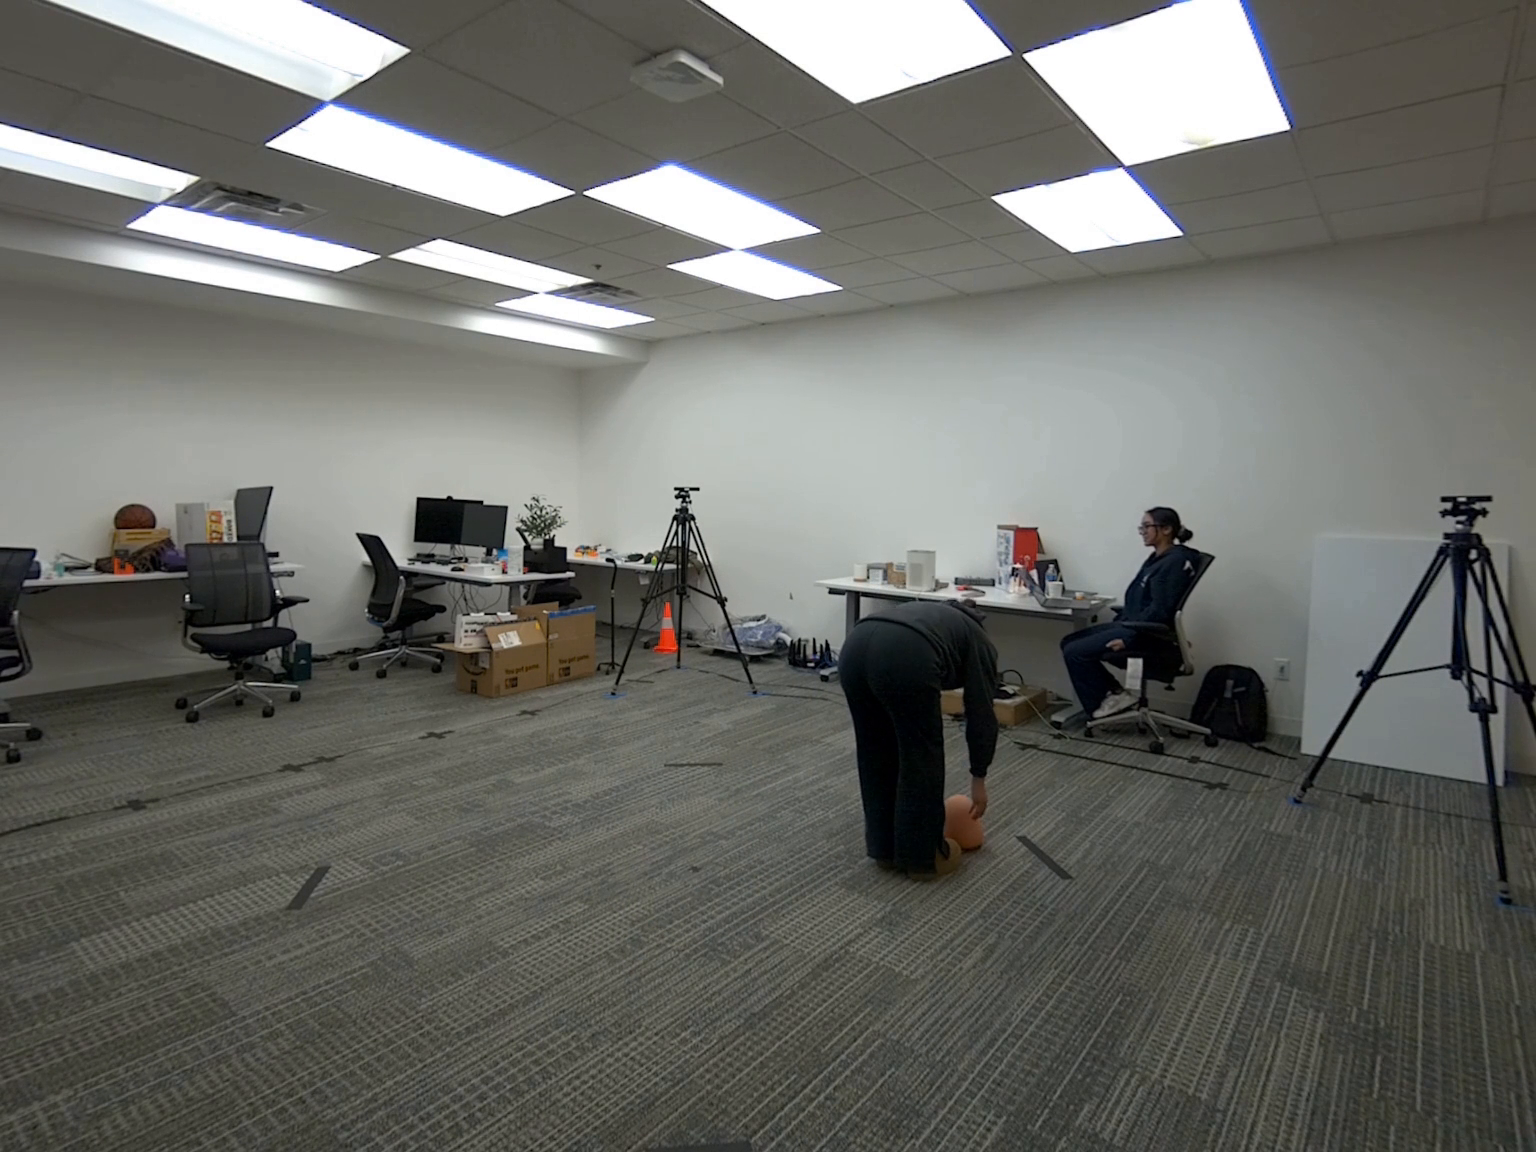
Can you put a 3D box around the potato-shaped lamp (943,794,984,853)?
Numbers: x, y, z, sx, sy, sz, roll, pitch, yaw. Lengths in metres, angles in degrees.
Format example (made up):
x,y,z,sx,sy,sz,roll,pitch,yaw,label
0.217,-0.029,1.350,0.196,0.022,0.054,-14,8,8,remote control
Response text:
x,y,z,sx,sy,sz,roll,pitch,yaw,label
0.757,0.948,3.363,0.167,0.196,0.170,-14,15,-39,potato-shaped lamp
